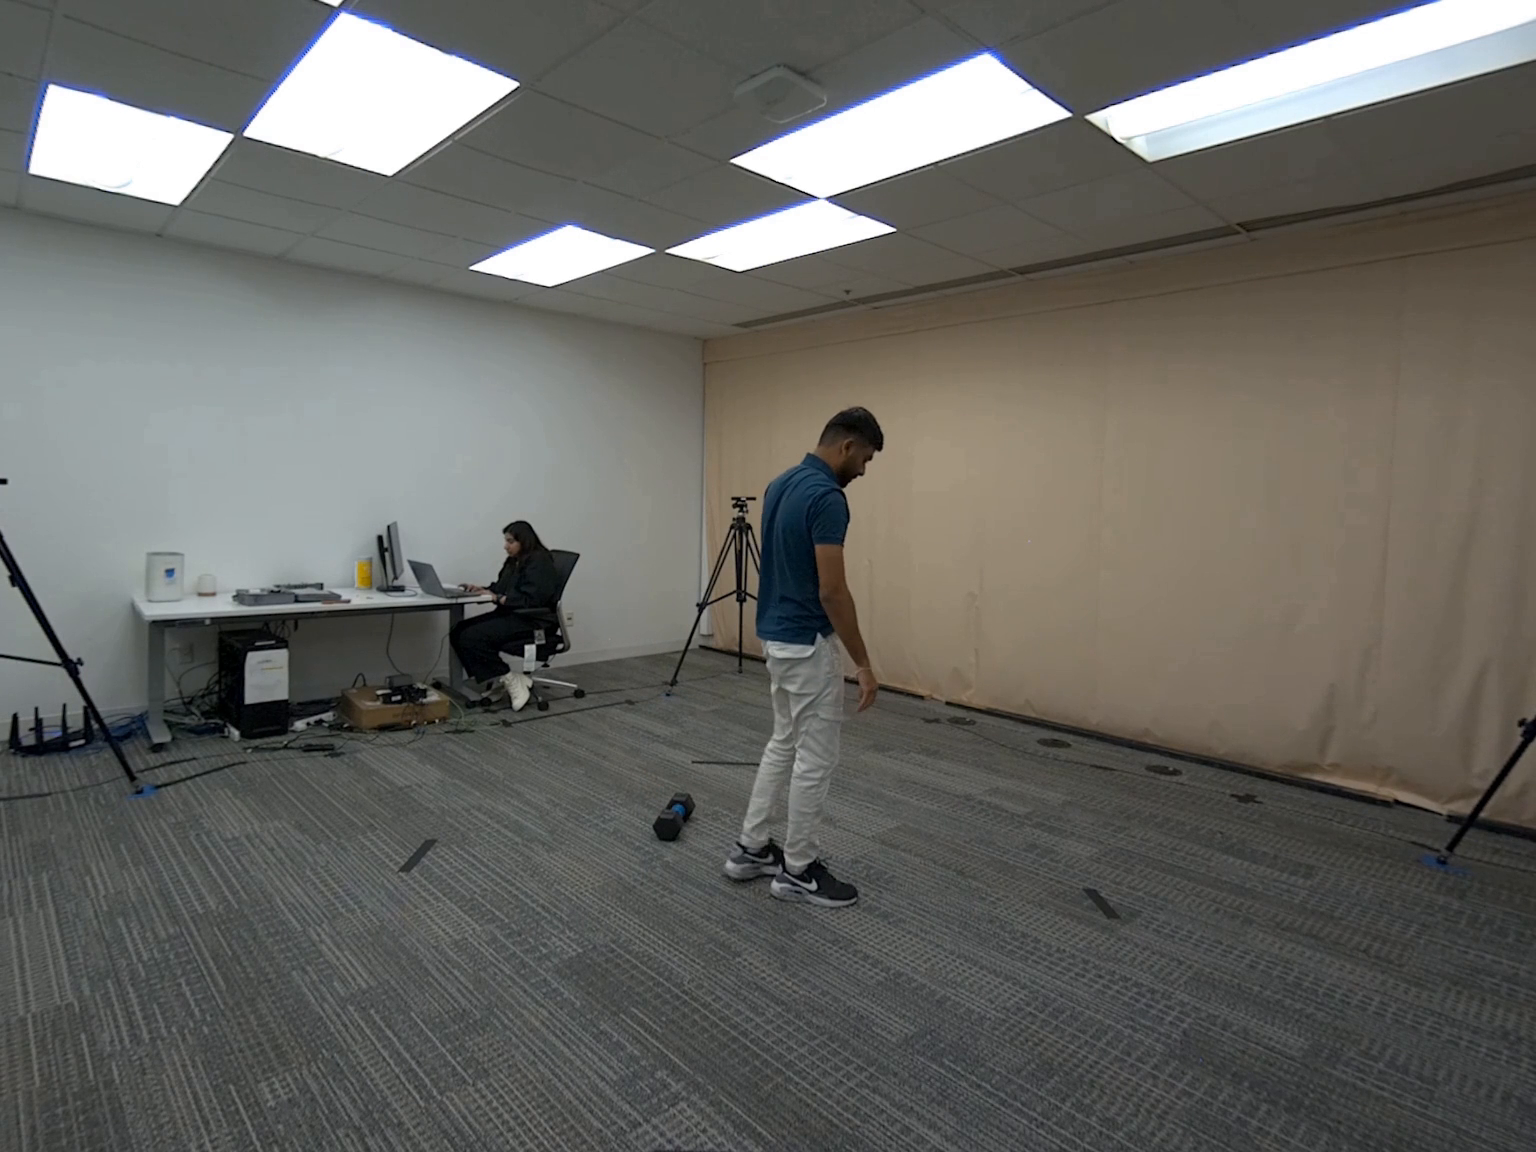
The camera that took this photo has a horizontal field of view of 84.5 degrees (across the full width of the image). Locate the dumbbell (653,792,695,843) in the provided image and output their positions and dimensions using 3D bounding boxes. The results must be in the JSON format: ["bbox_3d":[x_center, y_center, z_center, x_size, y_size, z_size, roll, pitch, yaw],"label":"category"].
[{"bbox_3d":[-0.405,1.008,3.539,0.124,0.108,0.292,2,5,9],"label":"dumbbell"}]
